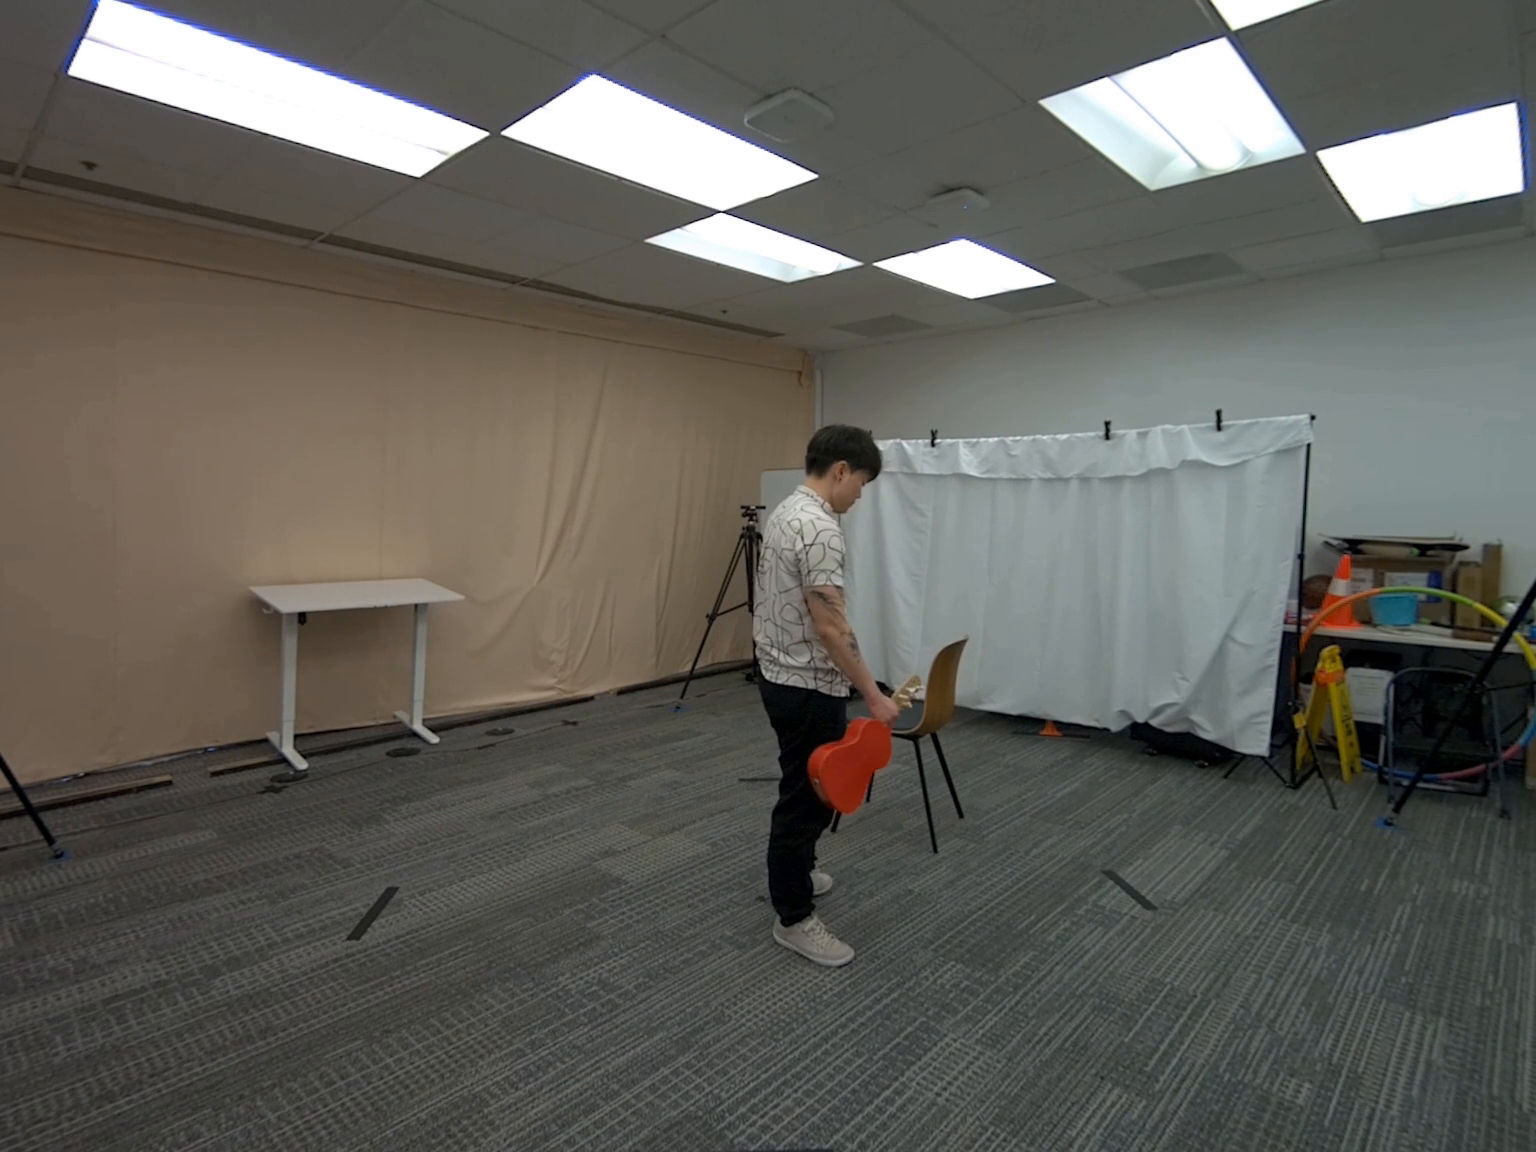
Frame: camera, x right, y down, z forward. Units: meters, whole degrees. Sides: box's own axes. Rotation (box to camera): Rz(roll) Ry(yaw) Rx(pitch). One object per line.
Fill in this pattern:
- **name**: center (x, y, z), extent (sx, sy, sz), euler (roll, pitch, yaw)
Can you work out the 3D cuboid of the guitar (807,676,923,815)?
- **guitar**: center (0.291, 0.432, 2.428), extent (0.495, 0.189, 0.073), euler (-49, 23, -26)
